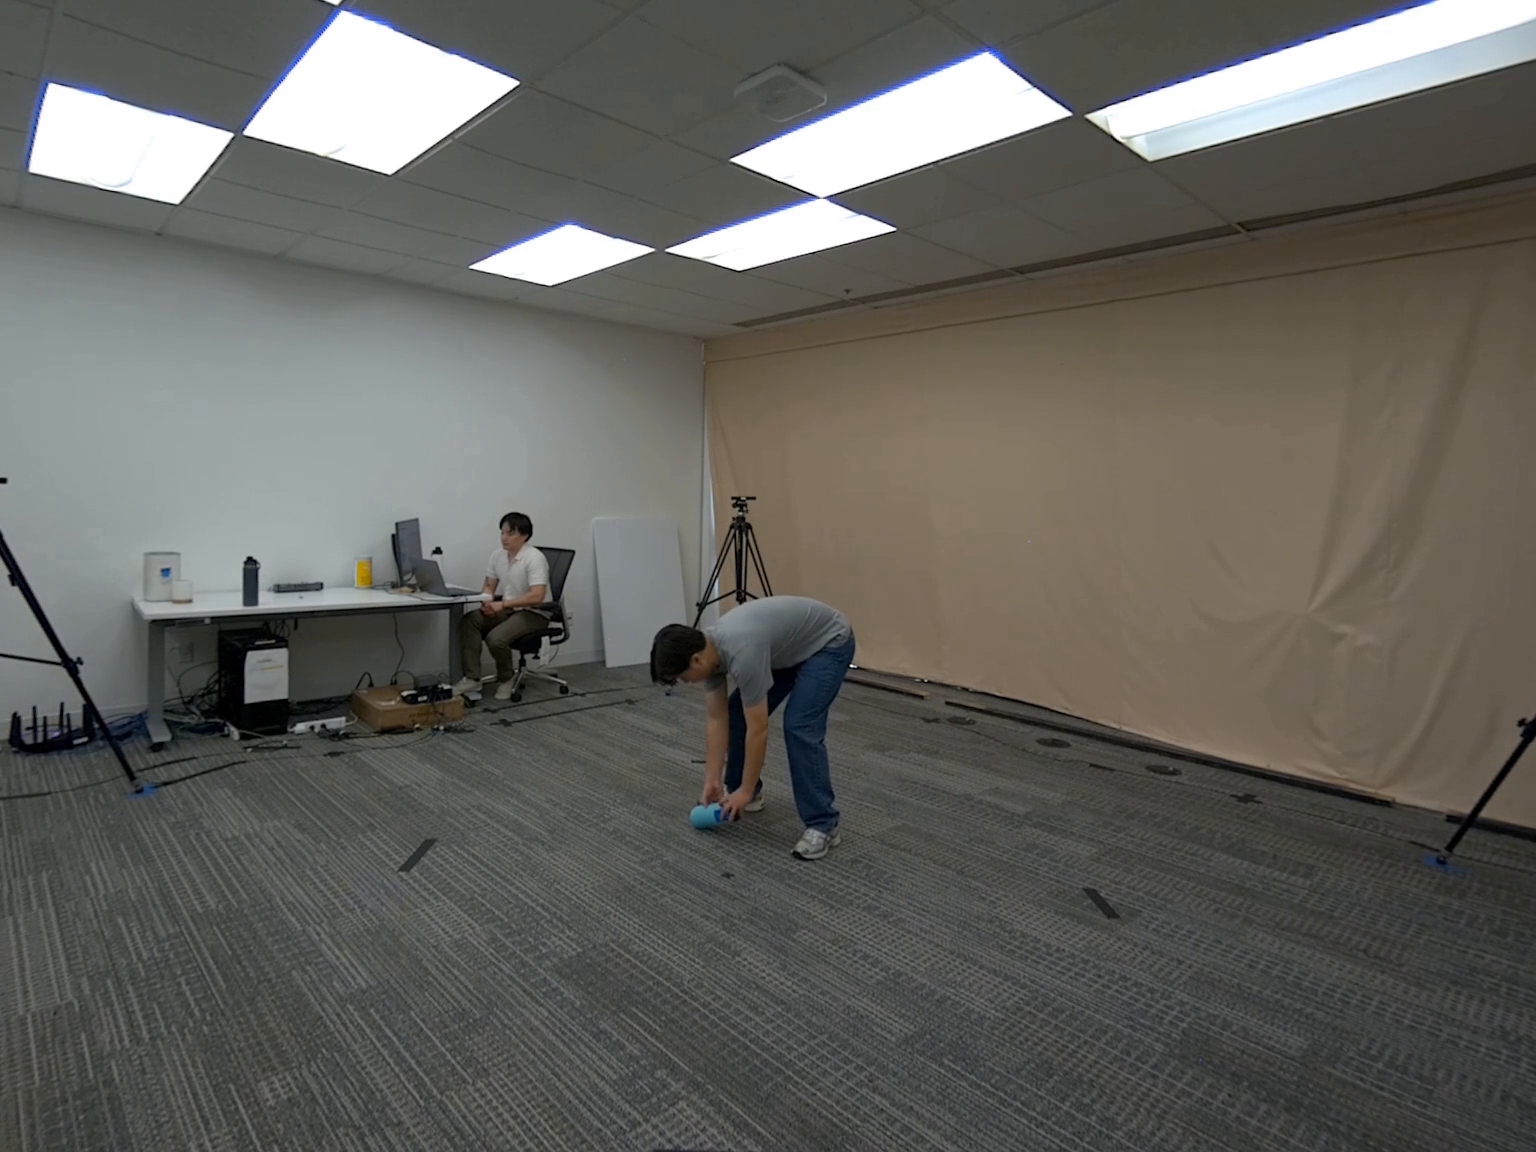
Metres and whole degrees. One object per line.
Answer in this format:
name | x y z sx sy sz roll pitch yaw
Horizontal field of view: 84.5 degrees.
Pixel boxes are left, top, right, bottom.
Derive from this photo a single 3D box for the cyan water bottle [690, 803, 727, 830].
cyan water bottle | -0.221 0.976 3.469 0.090 0.093 0.287 -2 -15 -41
